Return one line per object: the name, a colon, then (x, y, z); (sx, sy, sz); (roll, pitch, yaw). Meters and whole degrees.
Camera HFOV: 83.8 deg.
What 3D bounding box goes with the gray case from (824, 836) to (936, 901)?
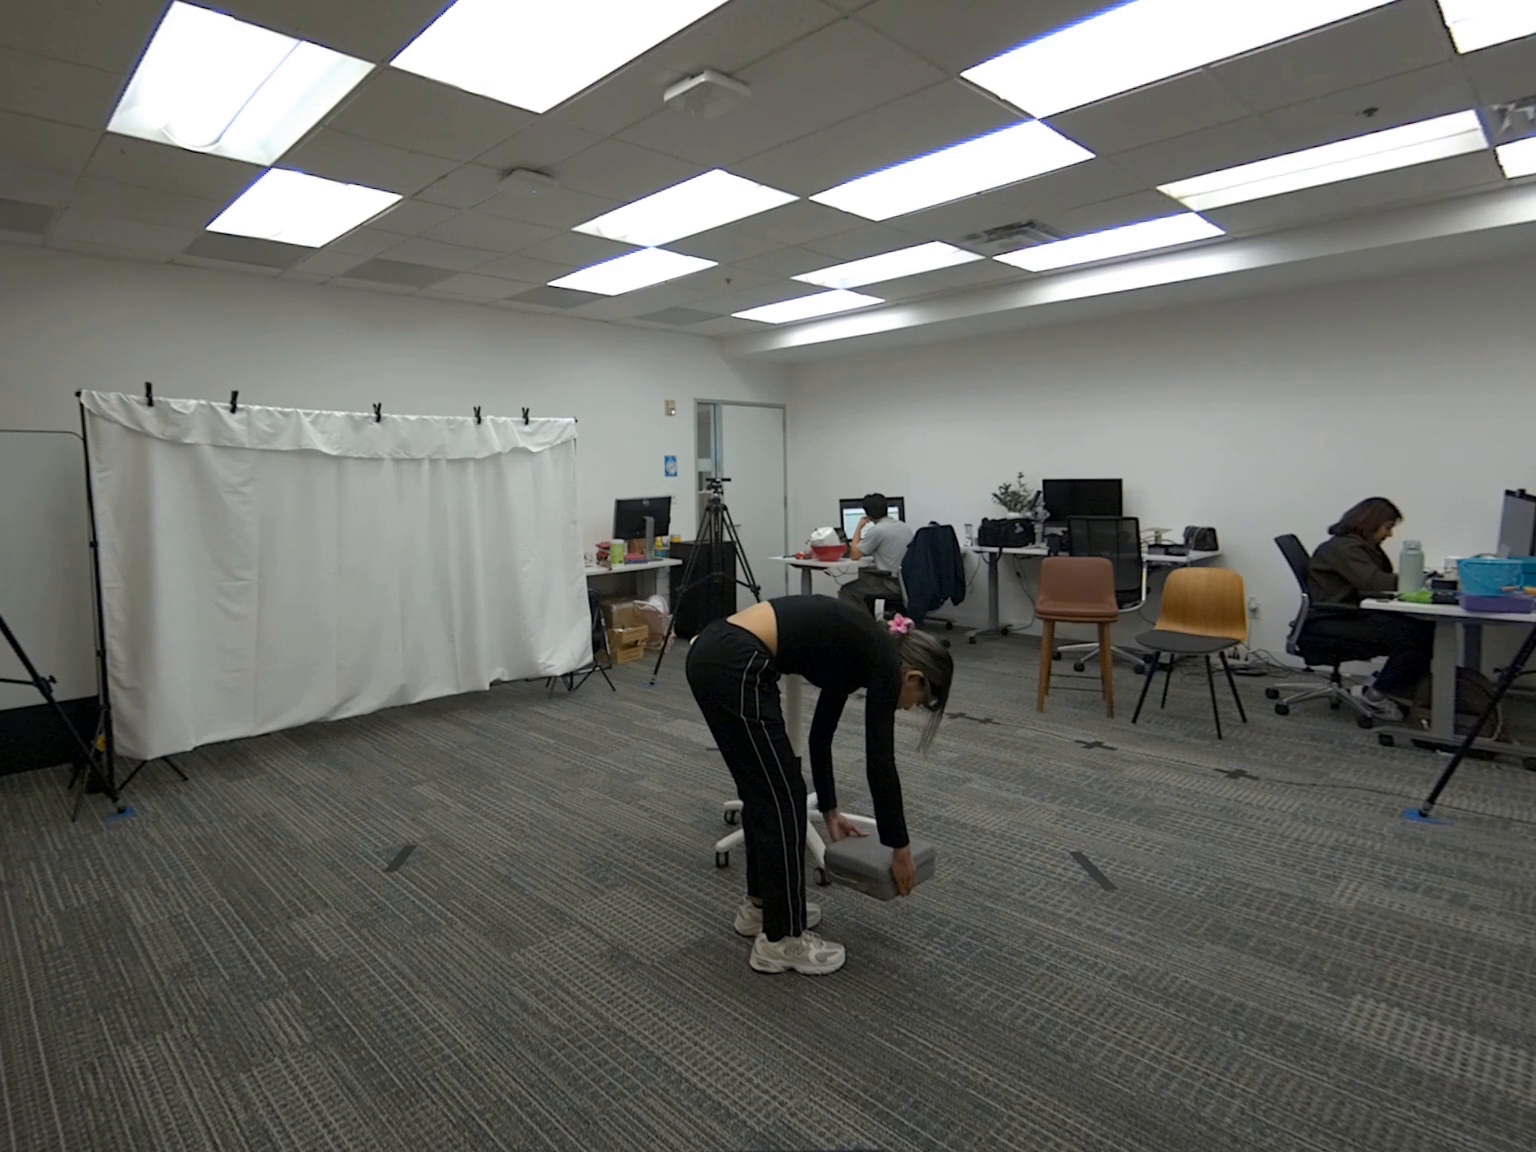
gray case: (0.340, 0.856, 2.568); (0.254, 0.104, 0.264); (-7, 6, -41)
